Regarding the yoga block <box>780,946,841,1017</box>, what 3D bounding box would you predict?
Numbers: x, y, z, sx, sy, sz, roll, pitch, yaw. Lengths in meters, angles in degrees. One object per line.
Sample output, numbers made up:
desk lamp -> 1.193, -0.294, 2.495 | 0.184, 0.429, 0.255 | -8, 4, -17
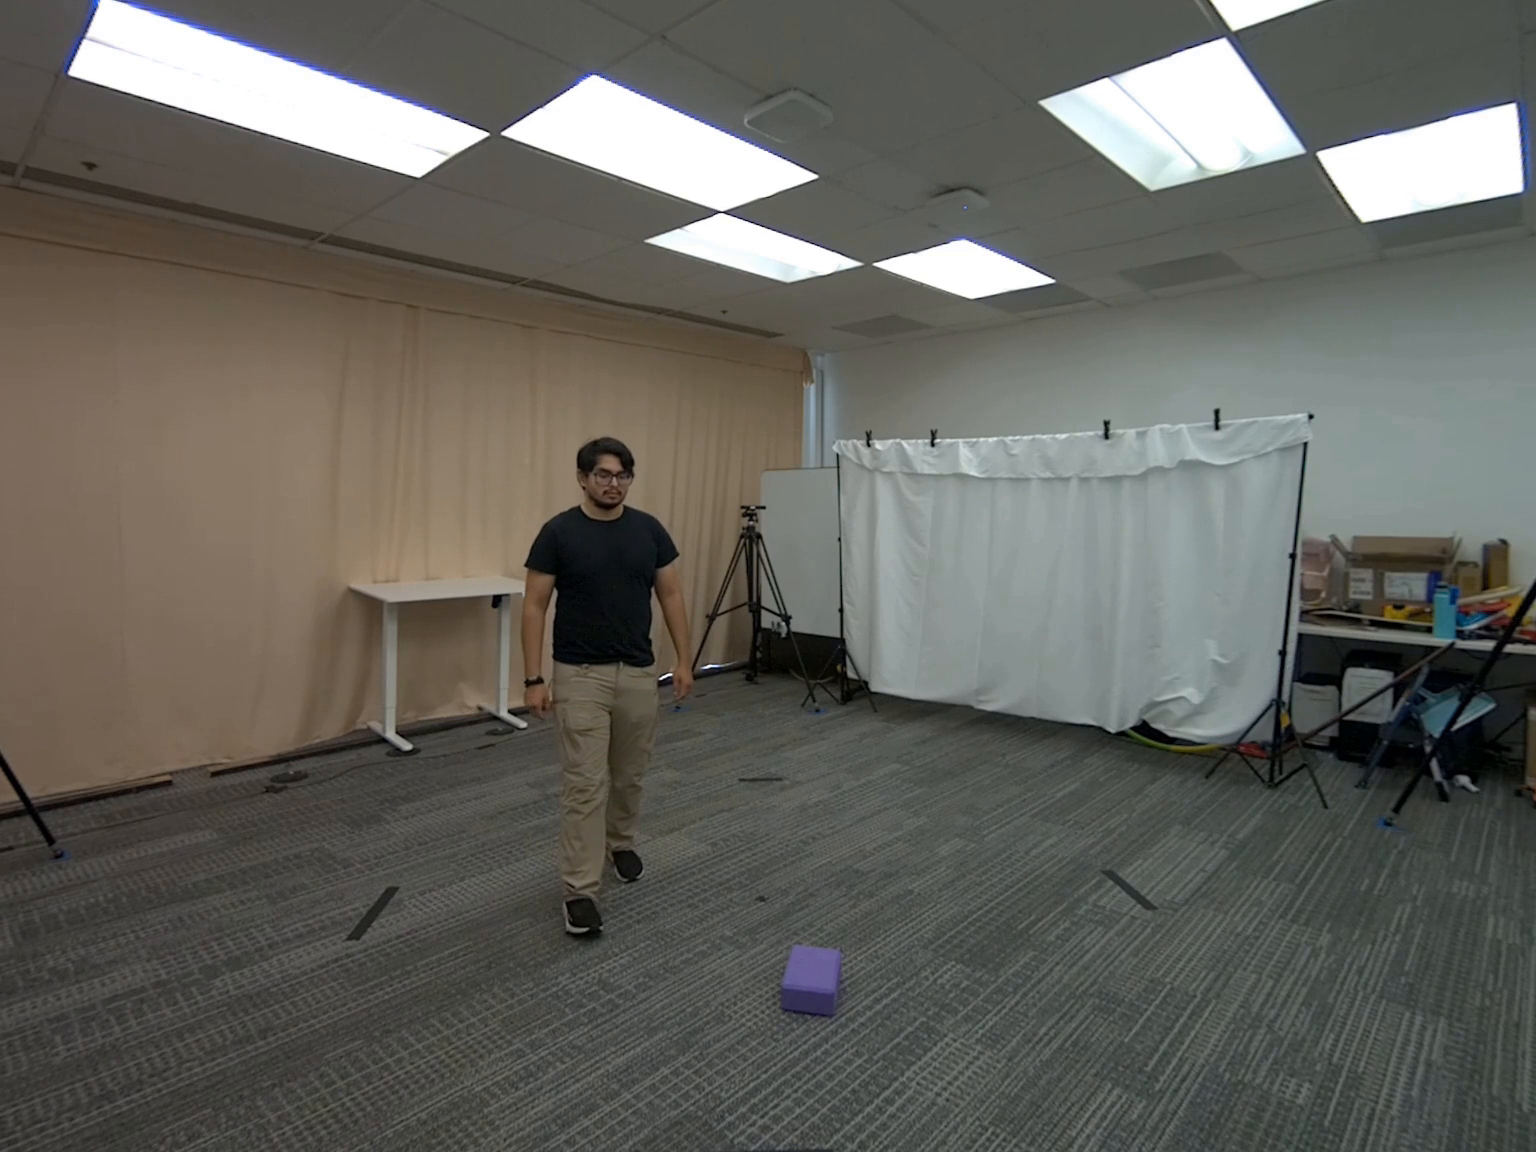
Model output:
yoga block -> 0.130, 1.154, 2.403 | 0.151, 0.076, 0.226 | 0, 3, 12
